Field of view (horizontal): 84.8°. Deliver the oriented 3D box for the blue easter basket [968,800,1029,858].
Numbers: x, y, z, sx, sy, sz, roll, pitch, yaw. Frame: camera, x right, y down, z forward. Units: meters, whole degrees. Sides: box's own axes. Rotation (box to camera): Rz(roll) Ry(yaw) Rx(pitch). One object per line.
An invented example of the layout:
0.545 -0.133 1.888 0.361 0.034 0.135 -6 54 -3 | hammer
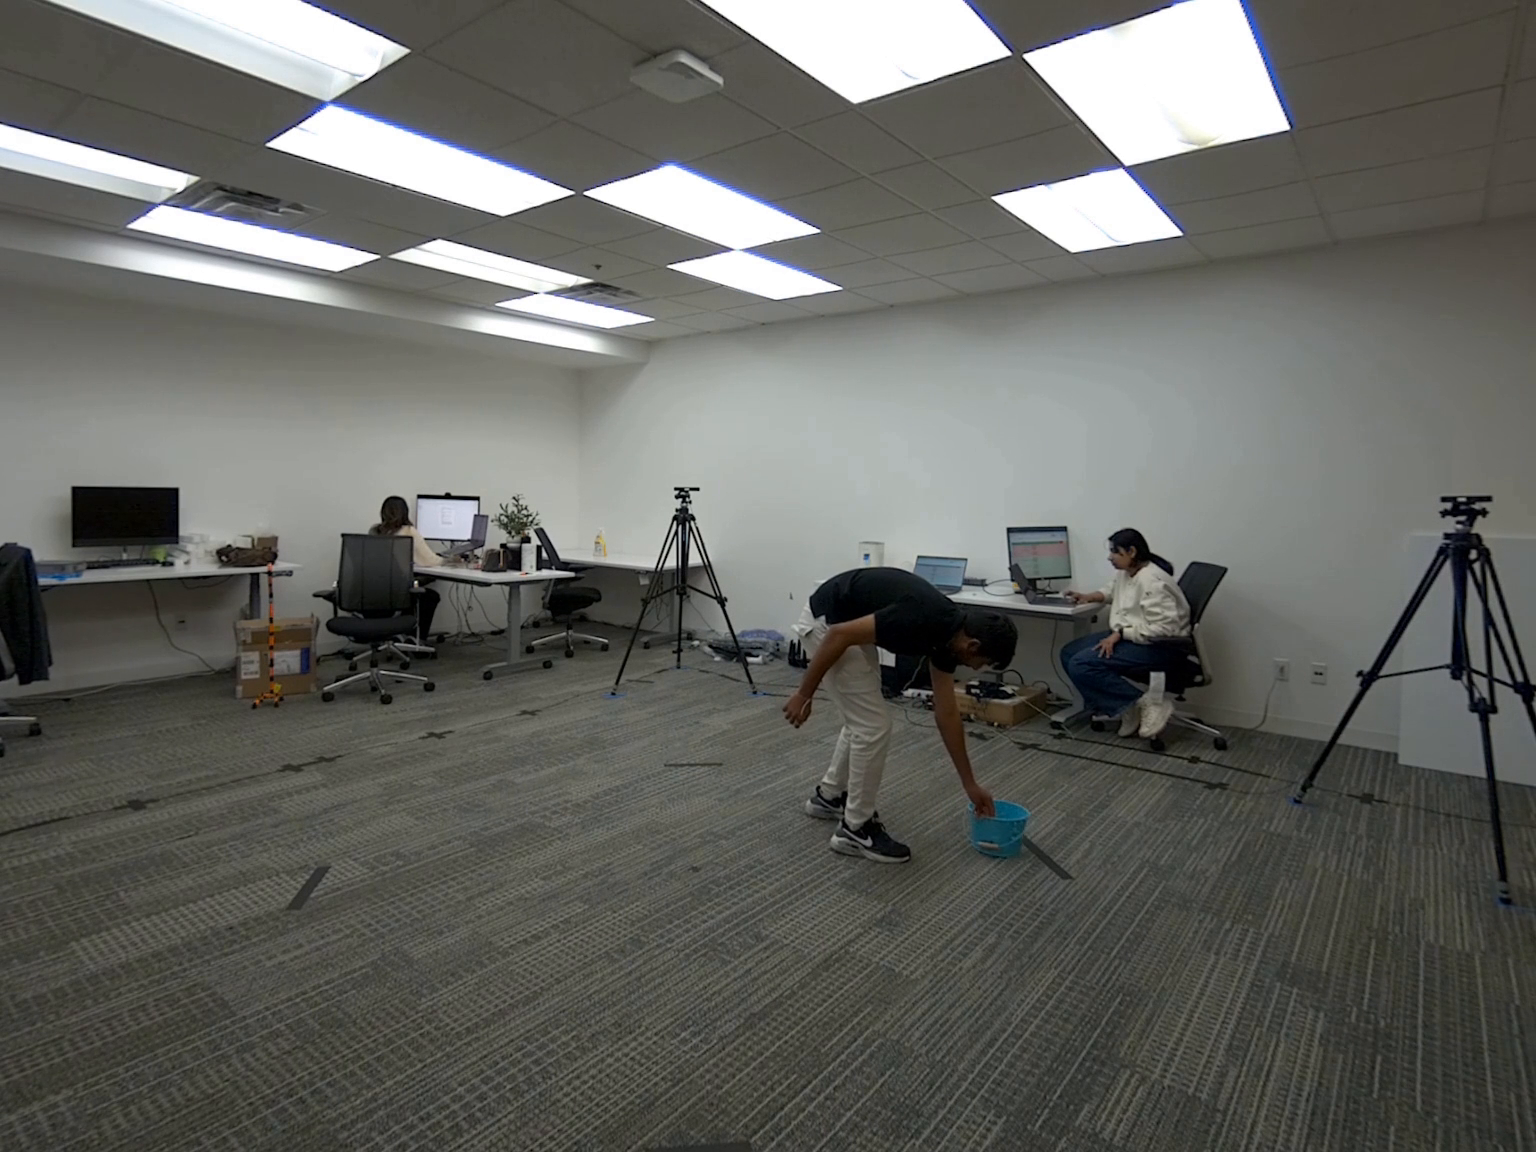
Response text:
0.887 0.986 3.352 0.243 0.155 0.245 2 4 -2 | blue easter basket
